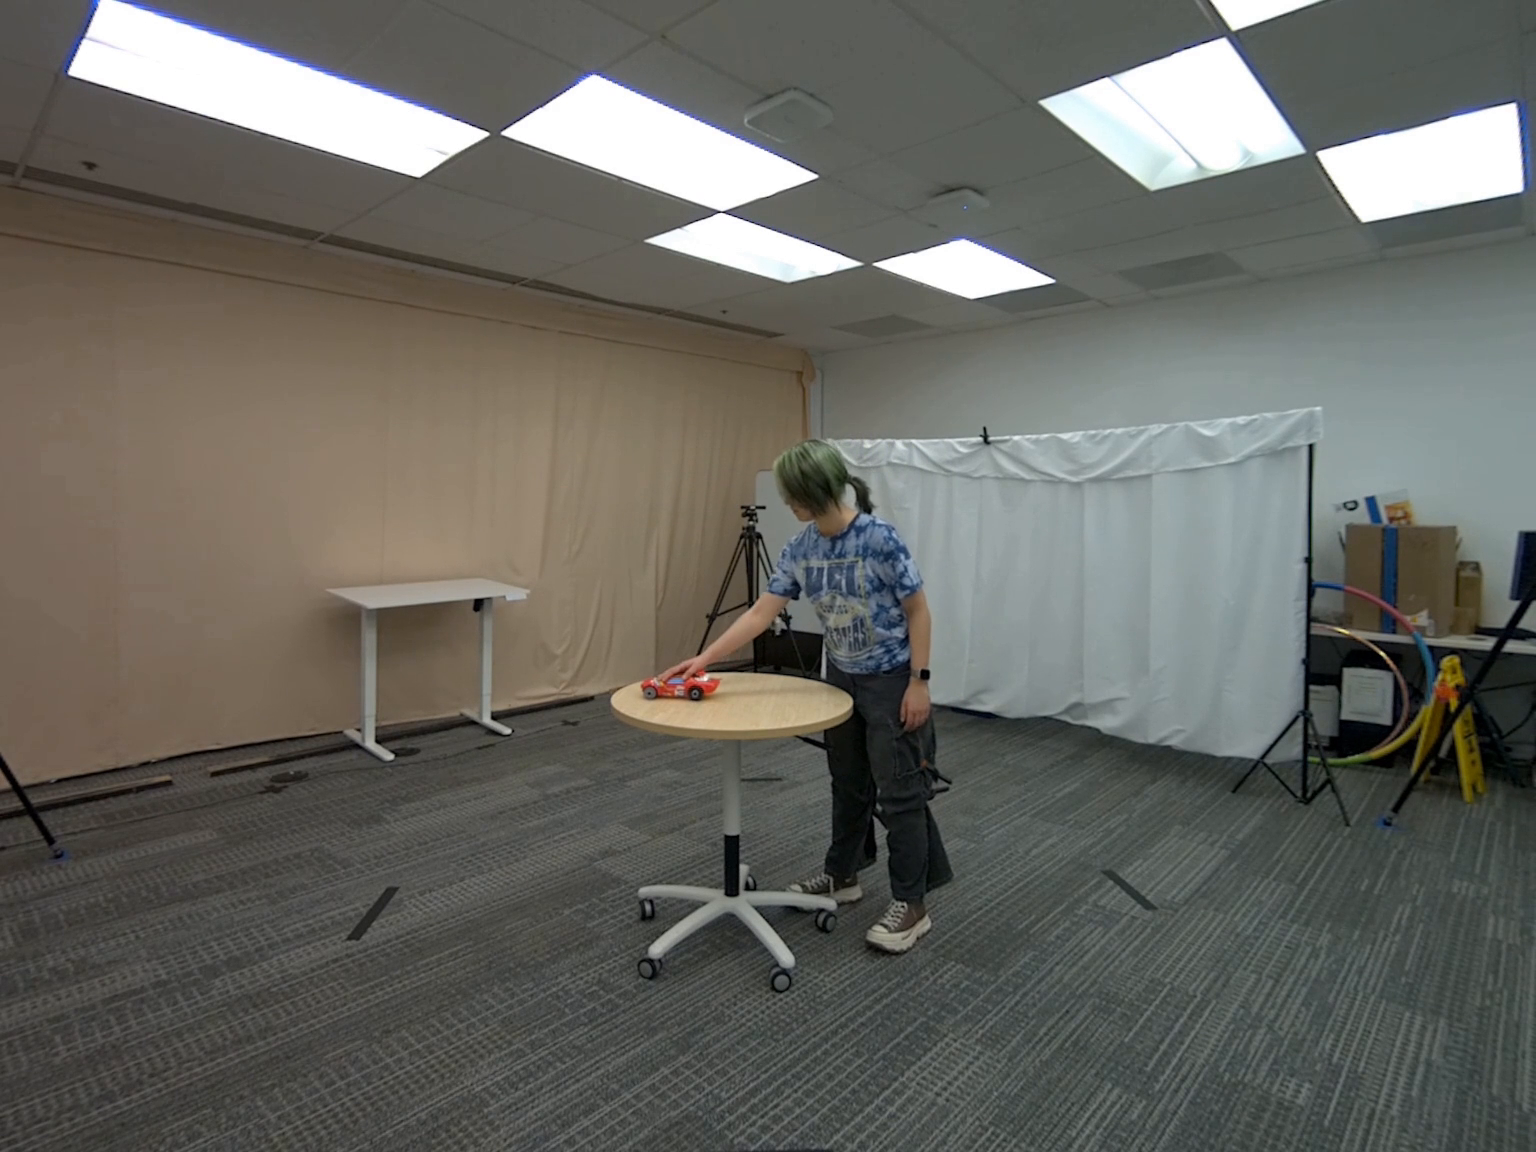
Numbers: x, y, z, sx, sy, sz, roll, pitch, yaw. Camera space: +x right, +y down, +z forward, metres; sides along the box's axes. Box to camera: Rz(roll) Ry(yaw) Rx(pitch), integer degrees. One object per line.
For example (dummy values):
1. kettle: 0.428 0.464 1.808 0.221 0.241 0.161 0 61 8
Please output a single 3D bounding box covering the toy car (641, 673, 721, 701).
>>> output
1. toy car: -0.266 0.359 2.684 0.256 0.083 0.130 -9 2 5
